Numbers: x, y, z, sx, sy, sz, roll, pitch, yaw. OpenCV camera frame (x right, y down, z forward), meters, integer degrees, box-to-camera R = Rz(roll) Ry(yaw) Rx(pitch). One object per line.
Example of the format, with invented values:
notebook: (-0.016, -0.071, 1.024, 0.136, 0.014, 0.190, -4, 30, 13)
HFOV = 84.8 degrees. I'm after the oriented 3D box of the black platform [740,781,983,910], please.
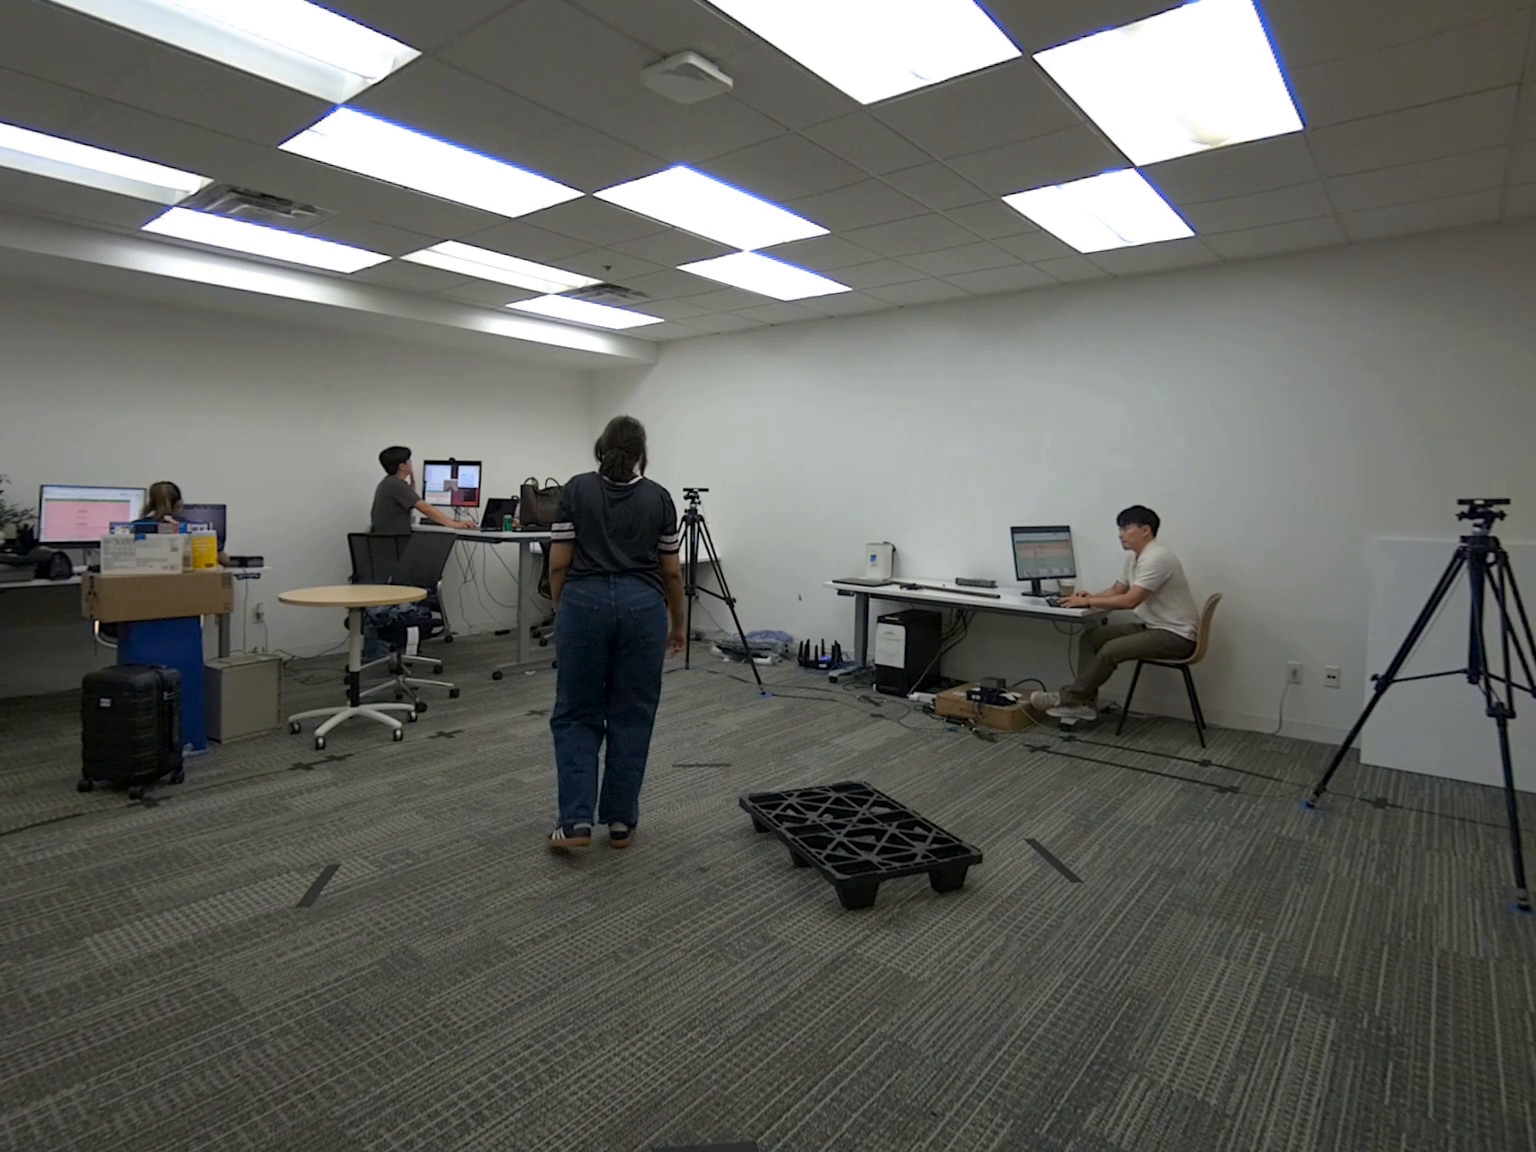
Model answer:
black platform: (0.307, 0.999, 3.238, 0.591, 0.143, 0.828, -2, 6, -25)
